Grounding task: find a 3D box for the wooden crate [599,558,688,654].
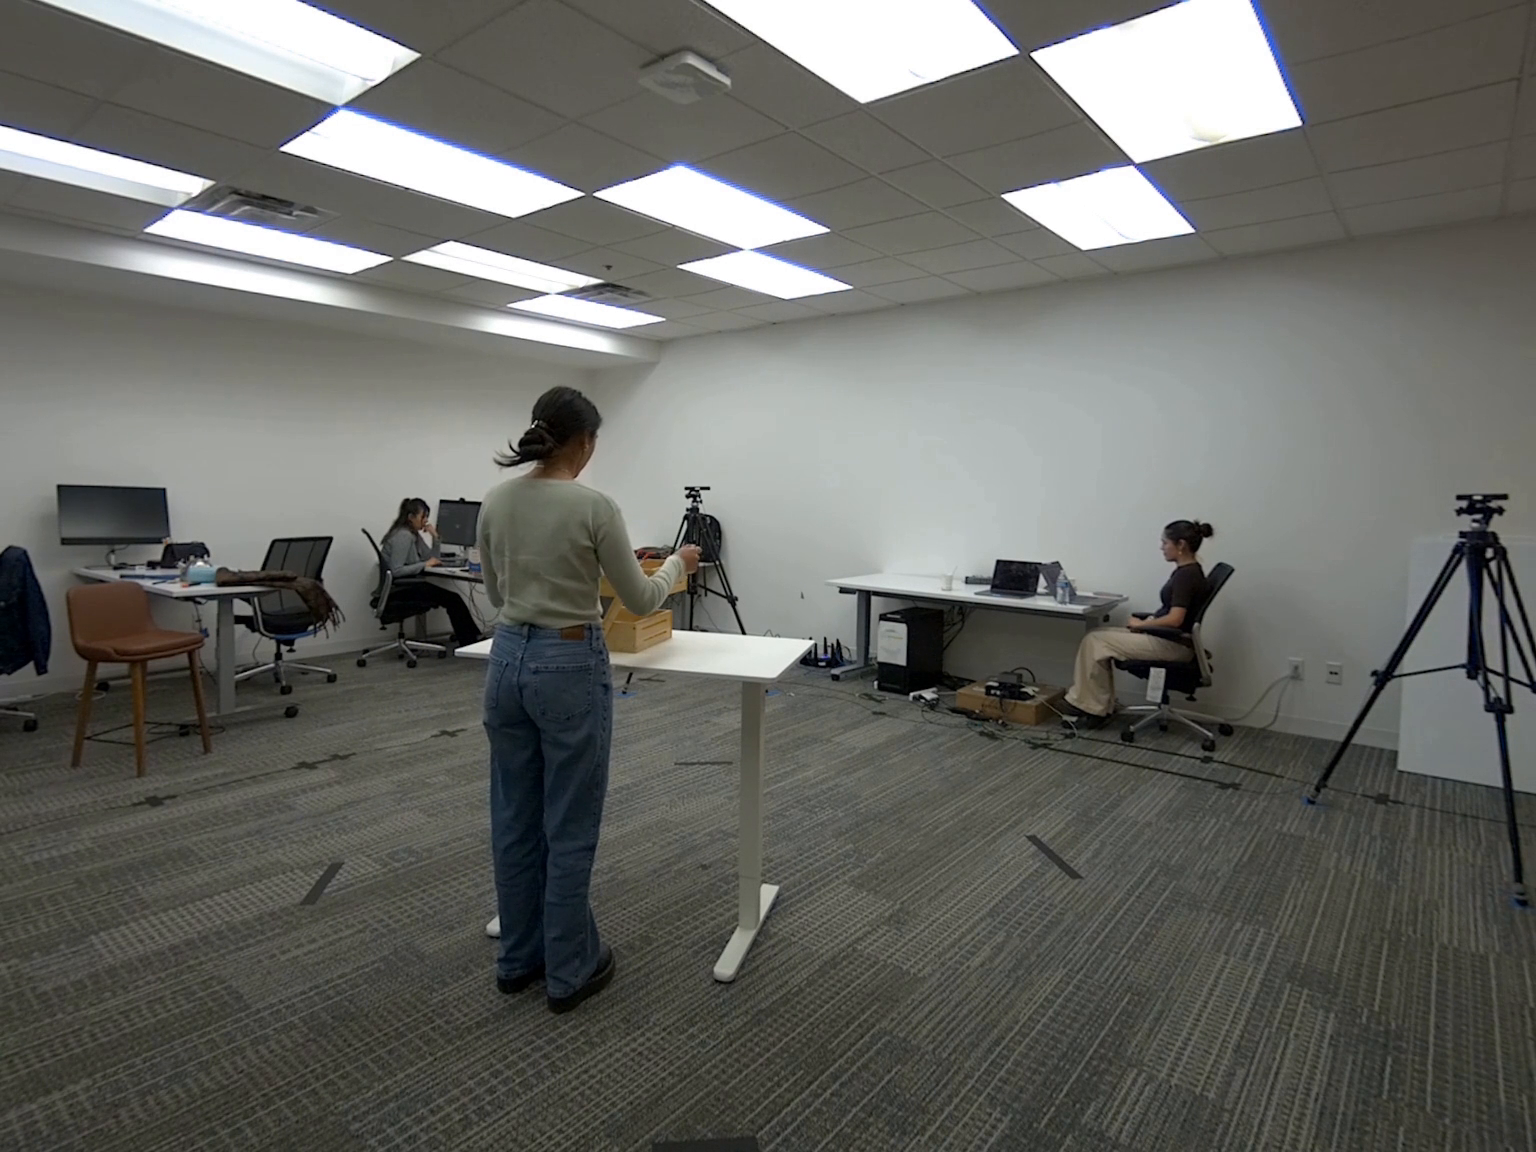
[{"bbox_3d":[-0.468,0.080,2.760,0.307,0.272,0.320,3,5,15],"label":"wooden crate"}]
